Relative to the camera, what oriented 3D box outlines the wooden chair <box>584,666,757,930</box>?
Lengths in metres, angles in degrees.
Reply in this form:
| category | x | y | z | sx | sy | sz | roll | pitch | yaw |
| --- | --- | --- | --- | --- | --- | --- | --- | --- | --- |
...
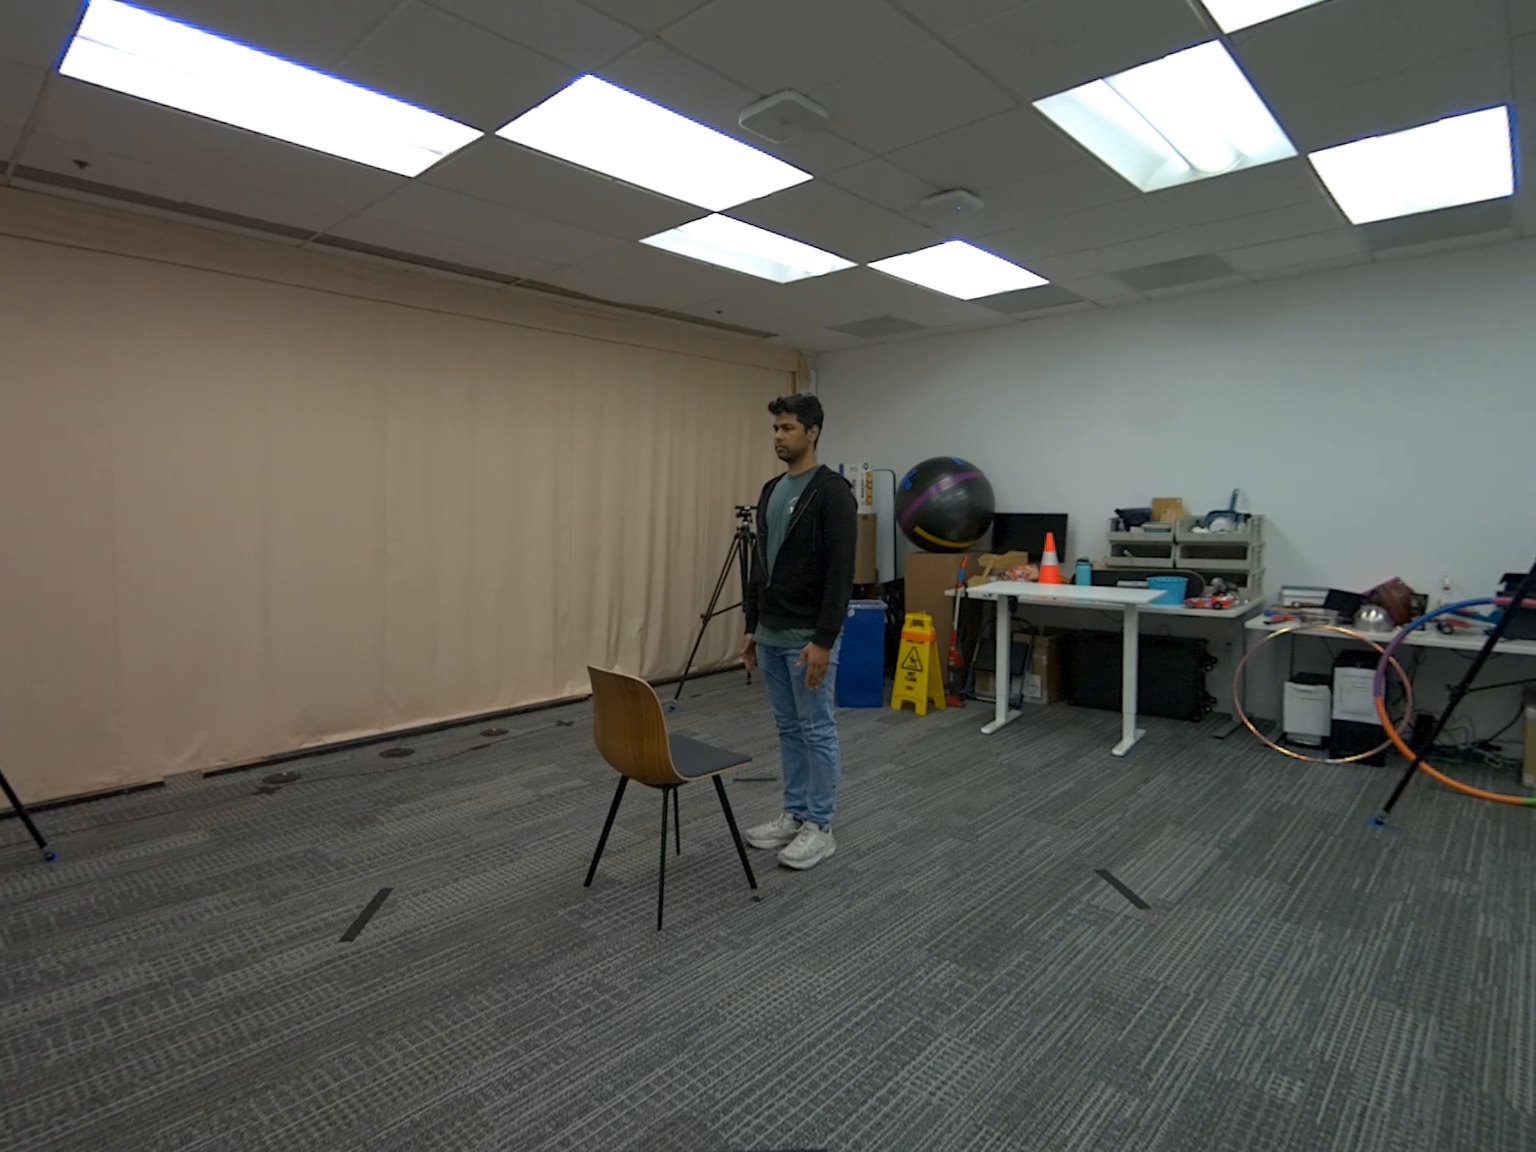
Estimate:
| category | x | y | z | sx | sy | sz | roll | pitch | yaw |
| --- | --- | --- | --- | --- | --- | --- | --- | --- | --- |
| wooden chair | -0.352 | 0.717 | 3.049 | 0.508 | 0.874 | 0.494 | -9 | 8 | -43 |
